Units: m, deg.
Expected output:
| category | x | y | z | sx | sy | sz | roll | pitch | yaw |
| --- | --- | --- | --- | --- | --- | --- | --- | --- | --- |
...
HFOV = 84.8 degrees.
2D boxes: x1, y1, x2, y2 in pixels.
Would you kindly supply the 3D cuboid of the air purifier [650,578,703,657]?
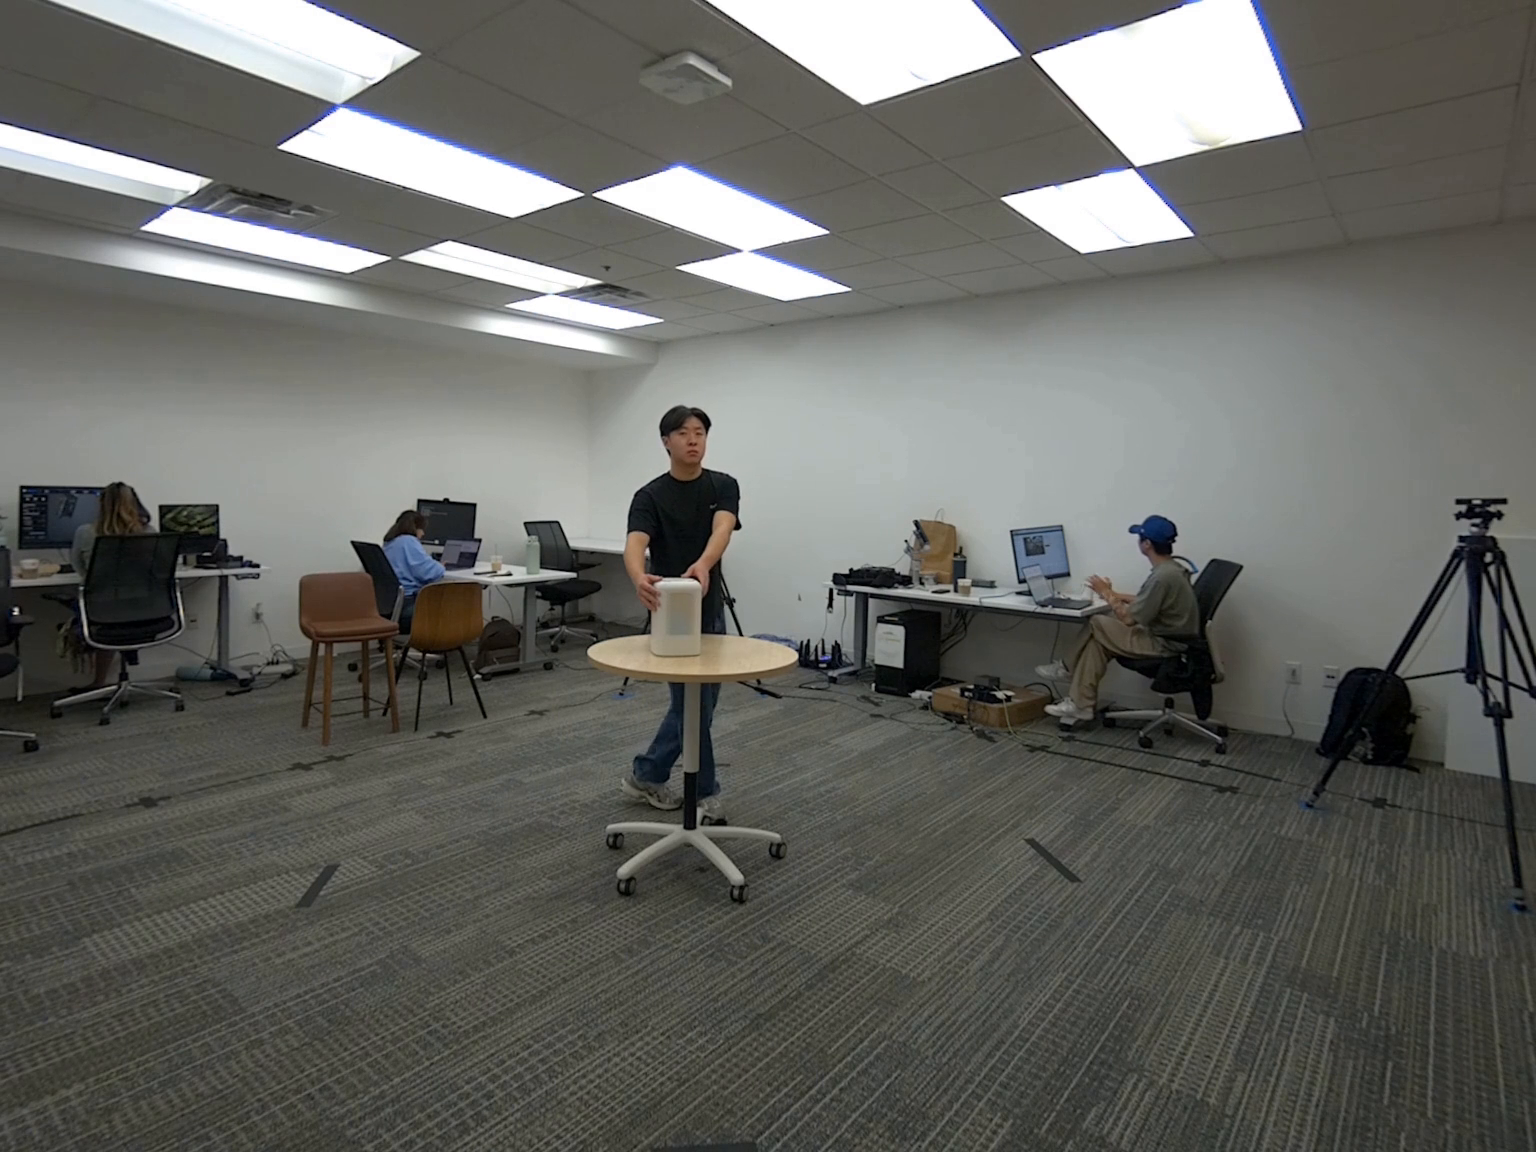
| category | x | y | z | sx | sy | sz | roll | pitch | yaw |
| --- | --- | --- | --- | --- | --- | --- | --- | --- | --- |
| air purifier | -0.342 | 0.144 | 3.068 | 0.170 | 0.265 | 0.173 | 3 | 3 | -8 |
